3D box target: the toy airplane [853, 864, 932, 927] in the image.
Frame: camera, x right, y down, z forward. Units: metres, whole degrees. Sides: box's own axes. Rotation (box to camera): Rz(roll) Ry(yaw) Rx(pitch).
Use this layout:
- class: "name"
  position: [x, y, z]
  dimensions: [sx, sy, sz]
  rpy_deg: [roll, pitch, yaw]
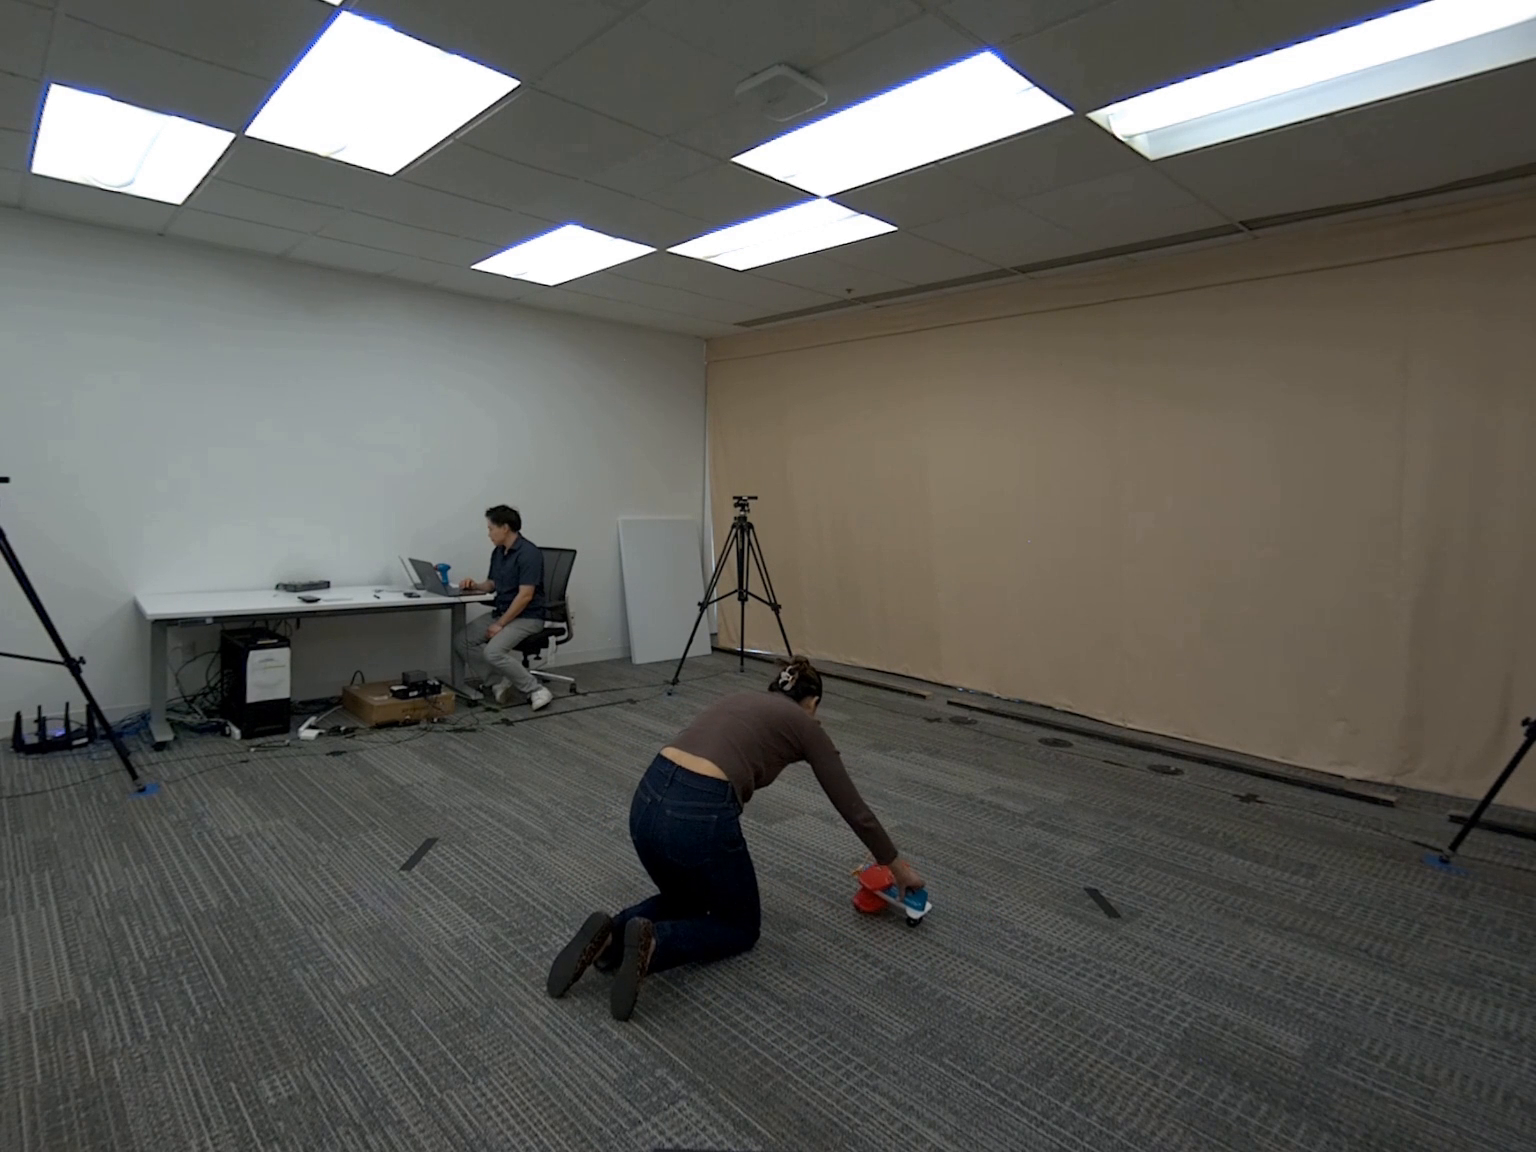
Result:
- class: "toy airplane"
  position: [0.418, 1.067, 2.837]
  dimensions: [0.261, 0.156, 0.250]
  rpy_deg: [2, 5, 10]
